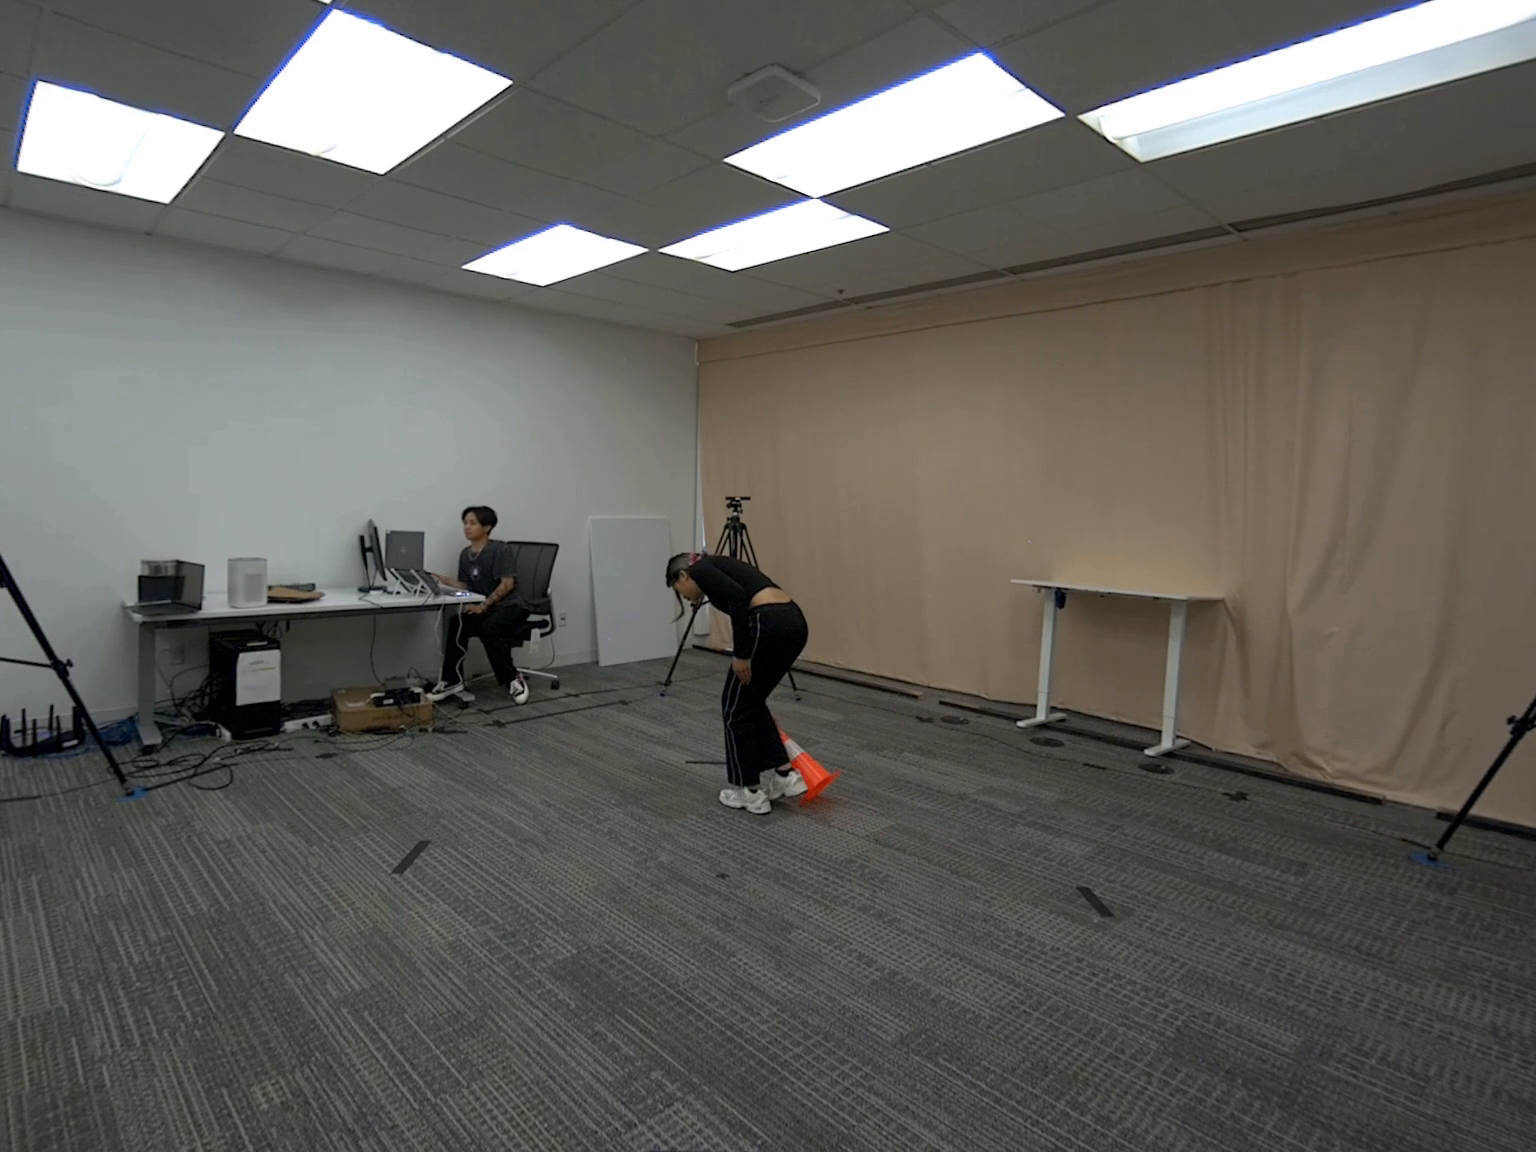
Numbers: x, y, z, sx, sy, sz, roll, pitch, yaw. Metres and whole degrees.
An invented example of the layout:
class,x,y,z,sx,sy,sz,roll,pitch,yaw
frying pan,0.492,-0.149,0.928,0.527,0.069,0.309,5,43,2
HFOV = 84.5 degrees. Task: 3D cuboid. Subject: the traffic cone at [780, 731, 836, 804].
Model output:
class,x,y,z,sx,sy,sz,roll,pitch,yaw
traffic cone,0.116,0.844,3.971,0.393,0.203,0.200,51,25,24
